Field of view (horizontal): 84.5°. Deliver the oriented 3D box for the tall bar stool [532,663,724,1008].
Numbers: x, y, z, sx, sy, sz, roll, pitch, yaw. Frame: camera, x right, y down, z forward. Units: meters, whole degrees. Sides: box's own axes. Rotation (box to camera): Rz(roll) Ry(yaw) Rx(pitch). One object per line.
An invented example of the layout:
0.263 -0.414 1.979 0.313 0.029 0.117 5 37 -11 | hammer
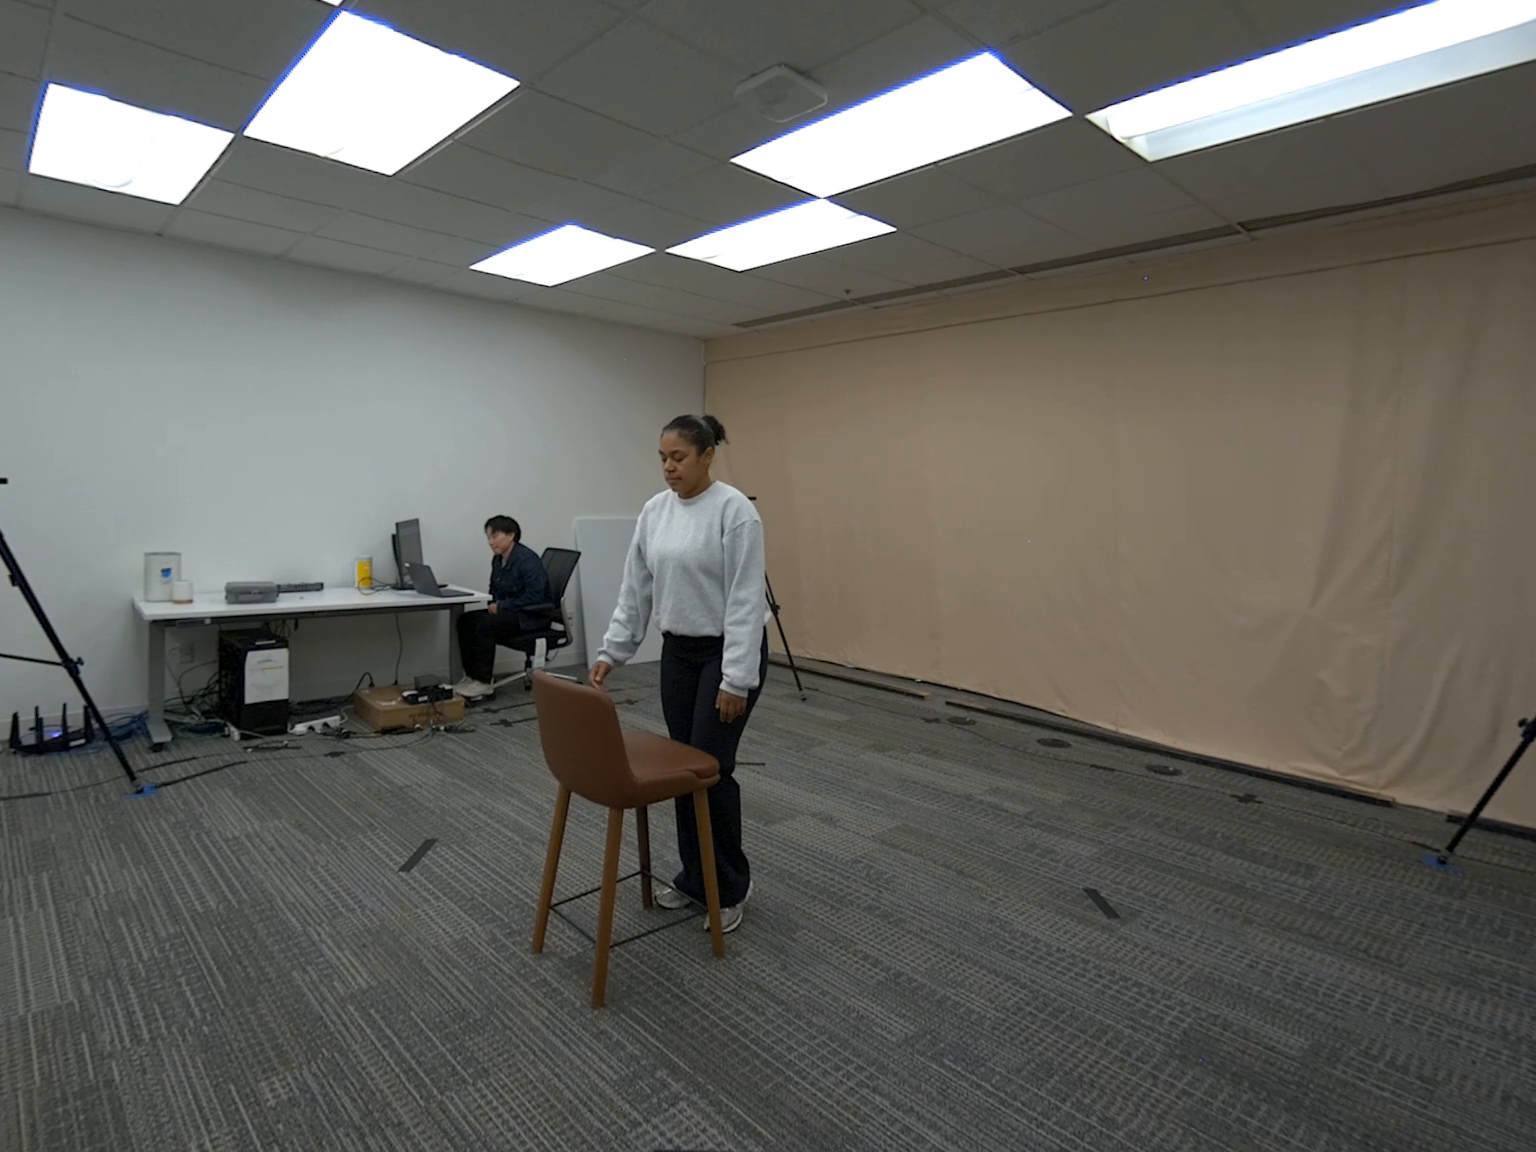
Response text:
-0.432 0.714 2.531 0.457 0.887 0.468 -4 6 -41 | tall bar stool
